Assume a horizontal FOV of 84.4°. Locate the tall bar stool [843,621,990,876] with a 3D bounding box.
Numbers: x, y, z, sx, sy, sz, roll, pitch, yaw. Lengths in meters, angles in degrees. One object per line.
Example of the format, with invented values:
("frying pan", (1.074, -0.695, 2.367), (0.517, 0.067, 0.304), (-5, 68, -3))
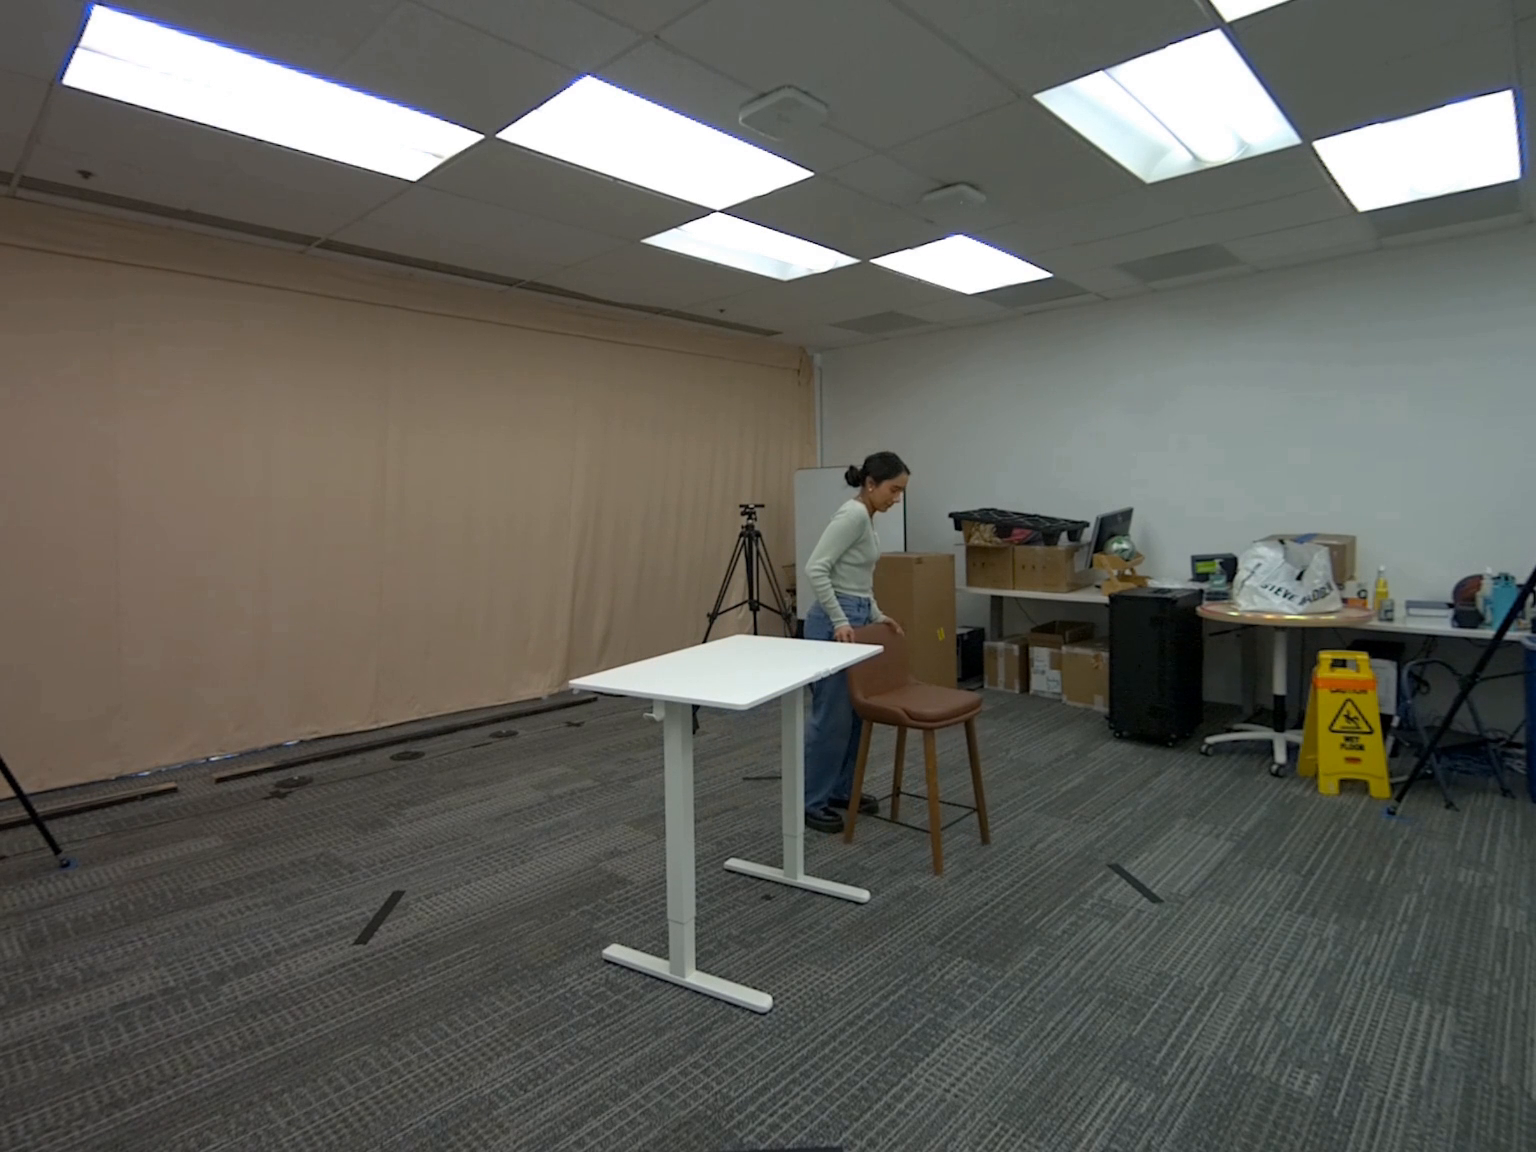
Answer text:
("tall bar stool", (0.596, 0.653, 3.409), (0.483, 0.889, 0.442), (-1, 2, 43))
